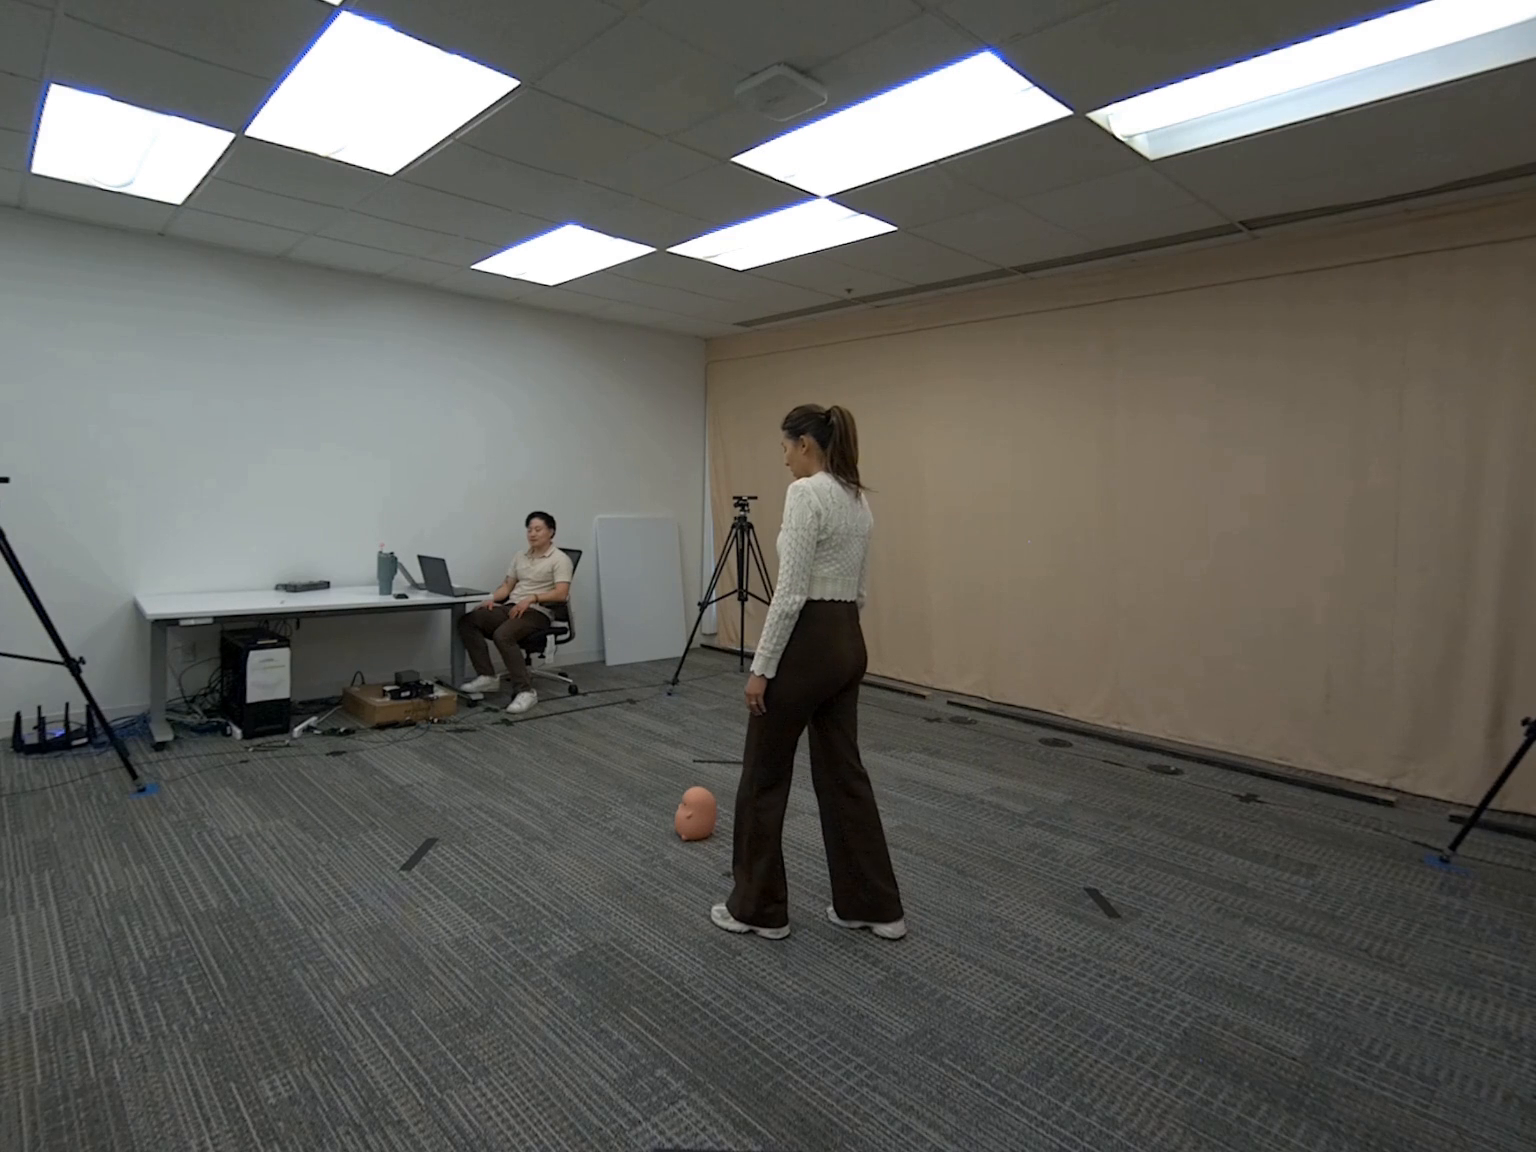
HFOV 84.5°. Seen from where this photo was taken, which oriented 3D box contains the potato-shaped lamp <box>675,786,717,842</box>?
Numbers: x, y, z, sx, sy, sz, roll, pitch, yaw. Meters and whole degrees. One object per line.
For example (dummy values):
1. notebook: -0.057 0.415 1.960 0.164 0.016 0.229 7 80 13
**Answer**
1. potato-shaped lamp: -0.305 0.965 3.455 0.168 0.197 0.168 5 4 -21
